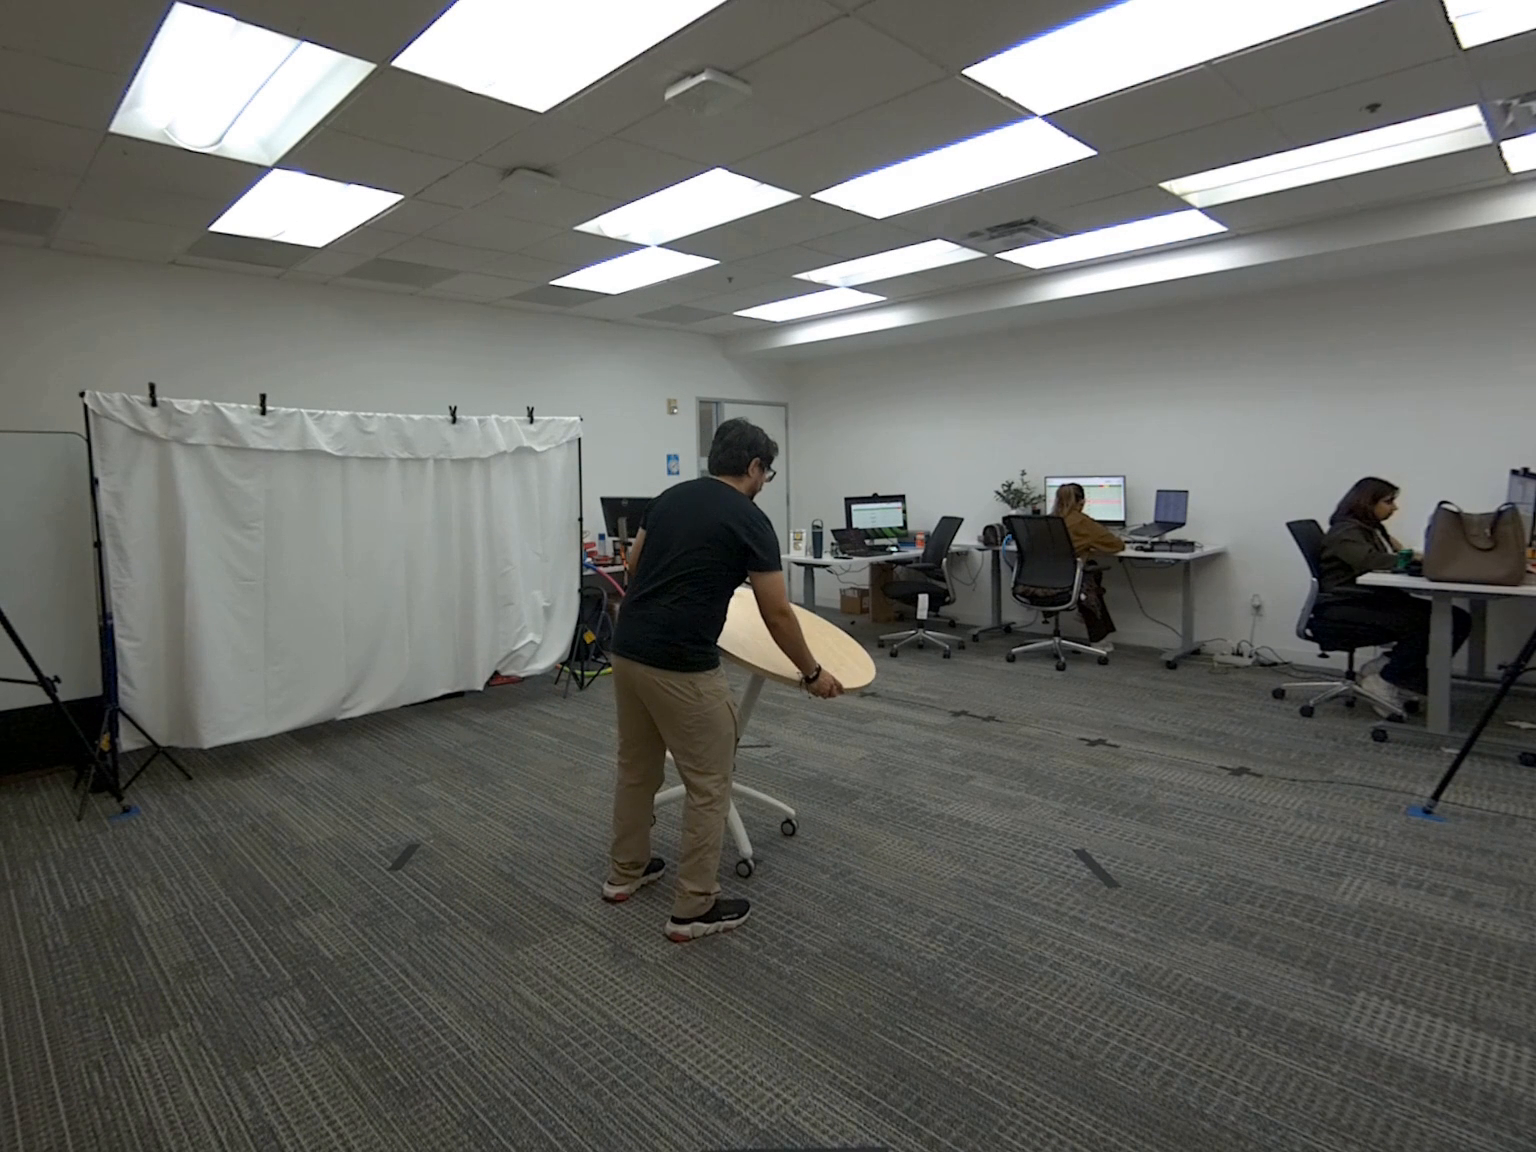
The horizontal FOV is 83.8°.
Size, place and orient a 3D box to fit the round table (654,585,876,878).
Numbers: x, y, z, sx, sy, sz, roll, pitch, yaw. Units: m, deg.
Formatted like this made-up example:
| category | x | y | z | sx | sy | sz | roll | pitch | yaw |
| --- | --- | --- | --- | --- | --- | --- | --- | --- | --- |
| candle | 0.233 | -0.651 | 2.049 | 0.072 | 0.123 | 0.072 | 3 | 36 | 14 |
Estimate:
| category | x | y | z | sx | sy | sz | roll | pitch | yaw |
| --- | --- | --- | --- | --- | --- | --- | --- | --- | --- |
| round table | -0.114 | 0.541 | 3.207 | 0.779 | 0.781 | 0.797 | 19 | 15 | -7 |
